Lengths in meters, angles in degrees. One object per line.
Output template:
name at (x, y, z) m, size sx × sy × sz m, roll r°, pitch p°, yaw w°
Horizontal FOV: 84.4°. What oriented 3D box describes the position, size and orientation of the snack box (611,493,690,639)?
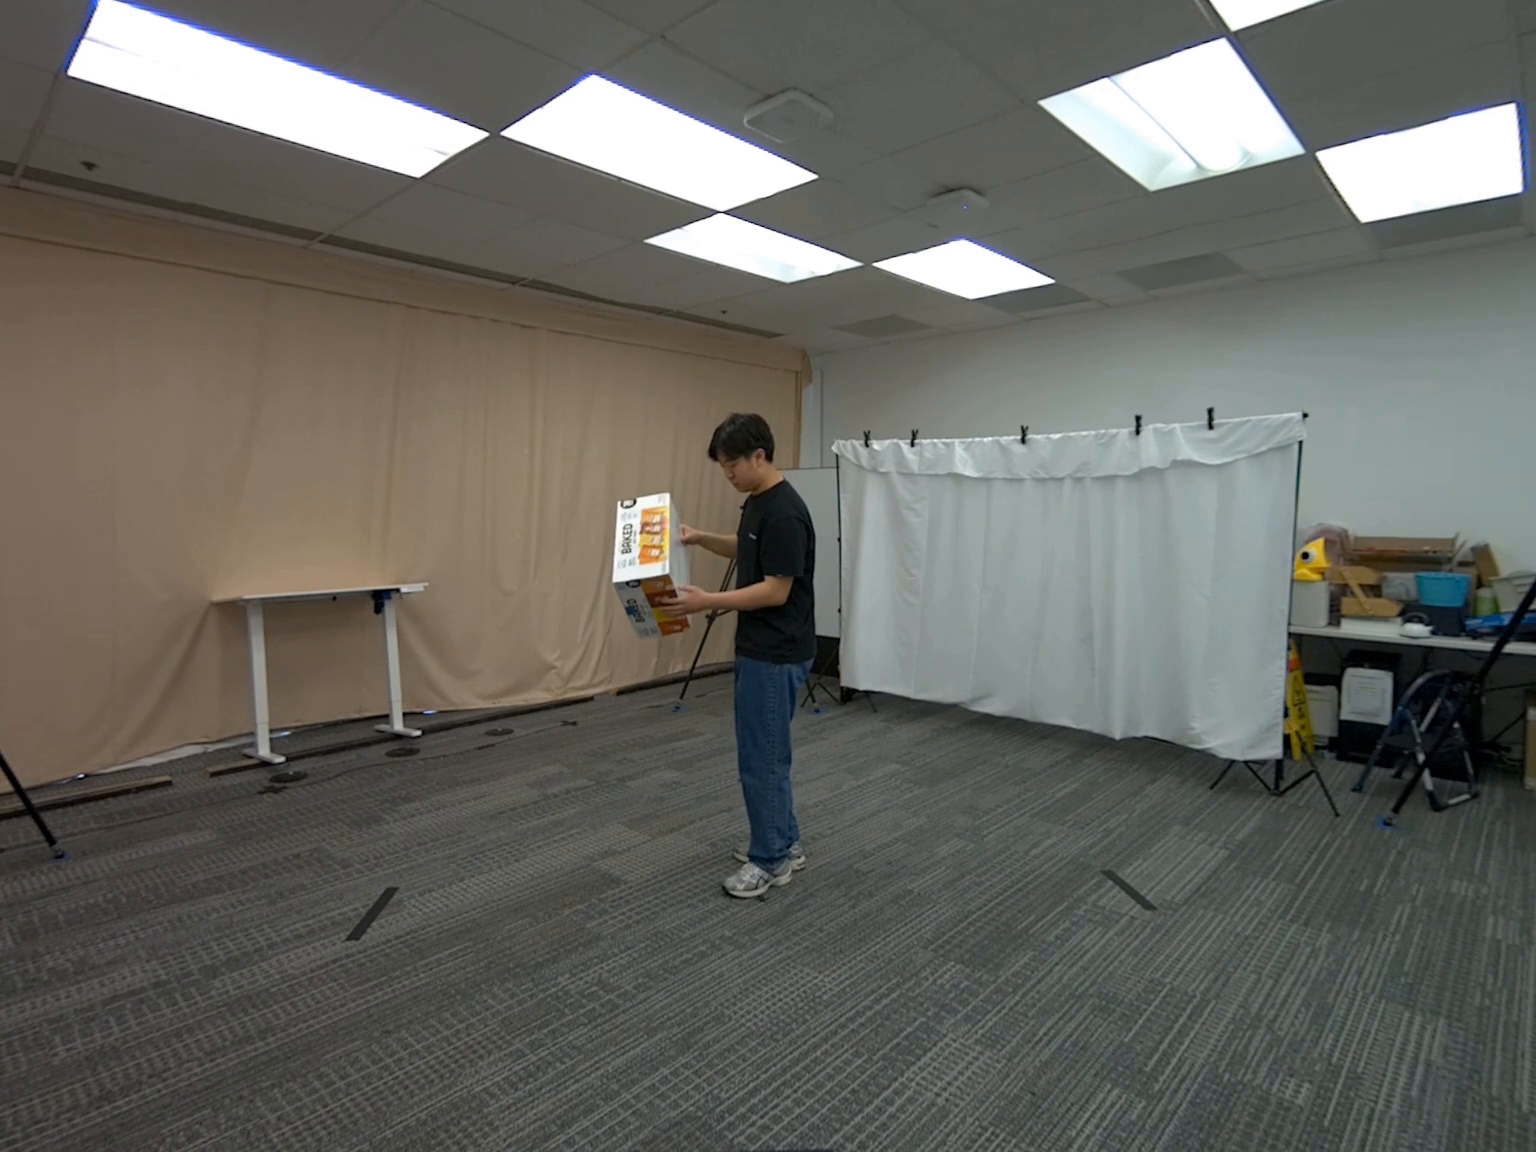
snack box at (-0.425, -0.029, 3.149) m, size 0.207 × 0.413 × 0.331 m, roll -8°, pitch -42°, yaw 5°
